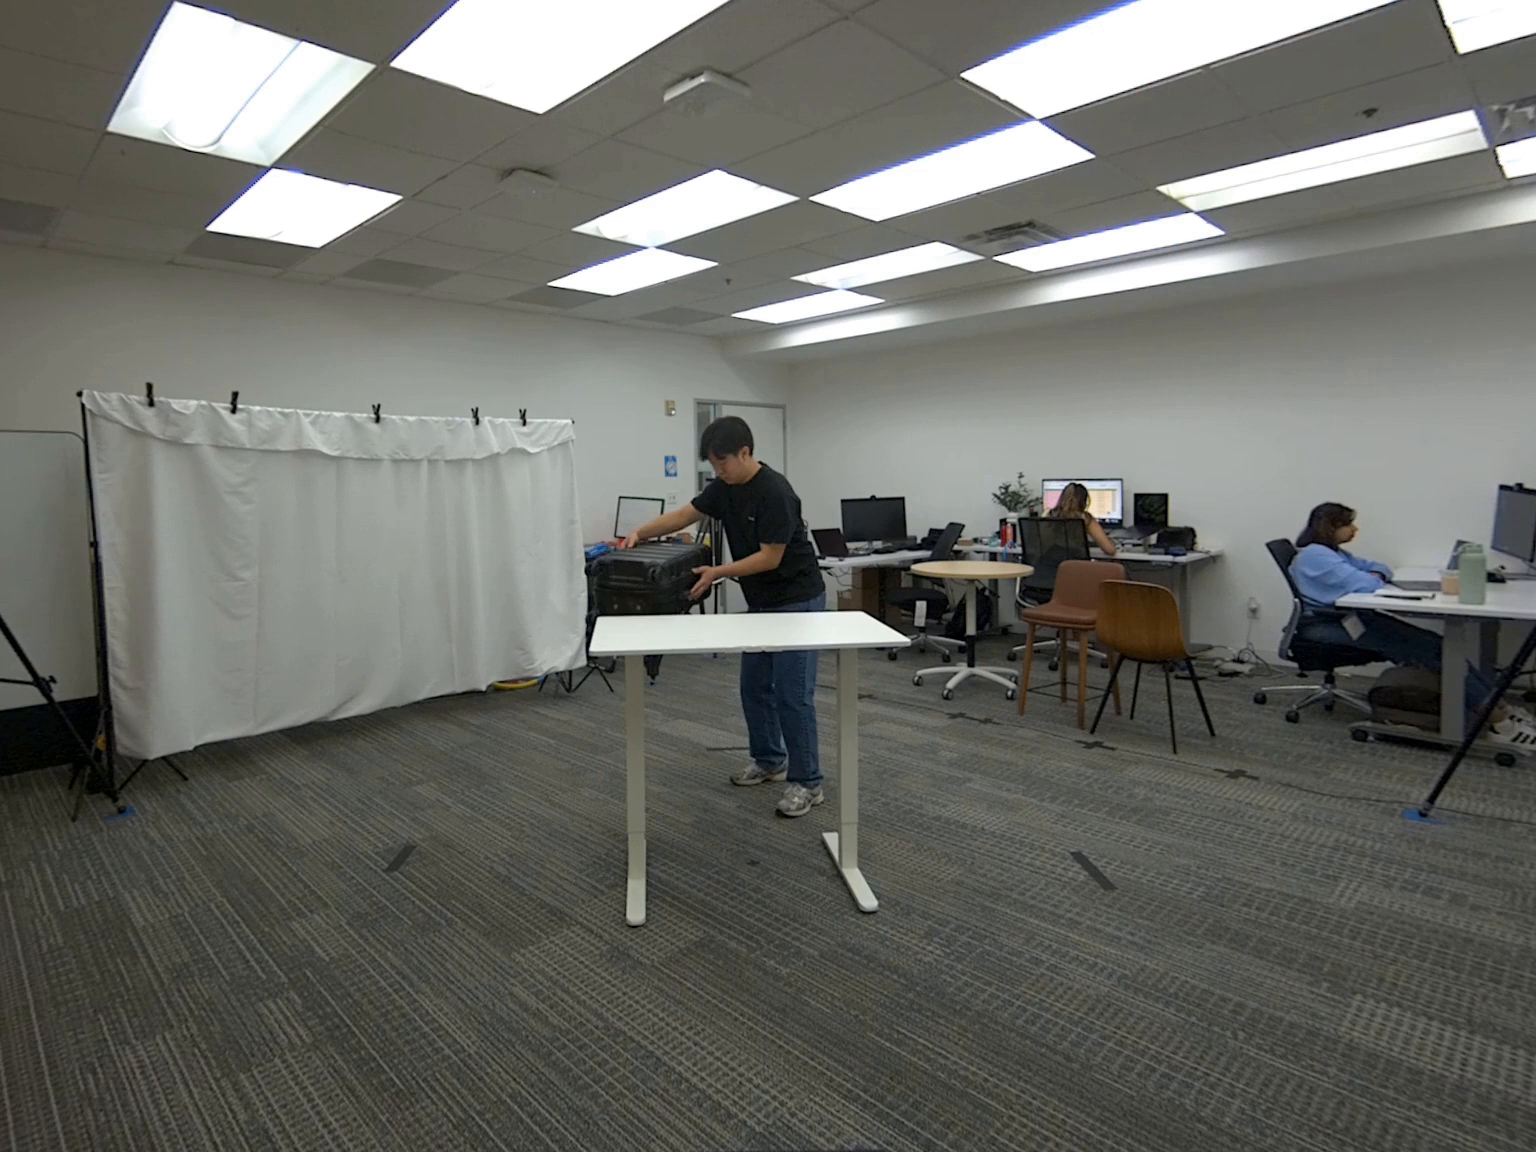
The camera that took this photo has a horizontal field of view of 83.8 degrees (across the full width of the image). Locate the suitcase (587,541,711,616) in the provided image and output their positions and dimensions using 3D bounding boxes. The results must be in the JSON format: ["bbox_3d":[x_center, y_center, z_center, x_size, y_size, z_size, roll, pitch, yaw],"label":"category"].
[{"bbox_3d":[-0.406,-0.015,3.774,0.392,0.254,0.968,2,13,22],"label":"suitcase"}]
